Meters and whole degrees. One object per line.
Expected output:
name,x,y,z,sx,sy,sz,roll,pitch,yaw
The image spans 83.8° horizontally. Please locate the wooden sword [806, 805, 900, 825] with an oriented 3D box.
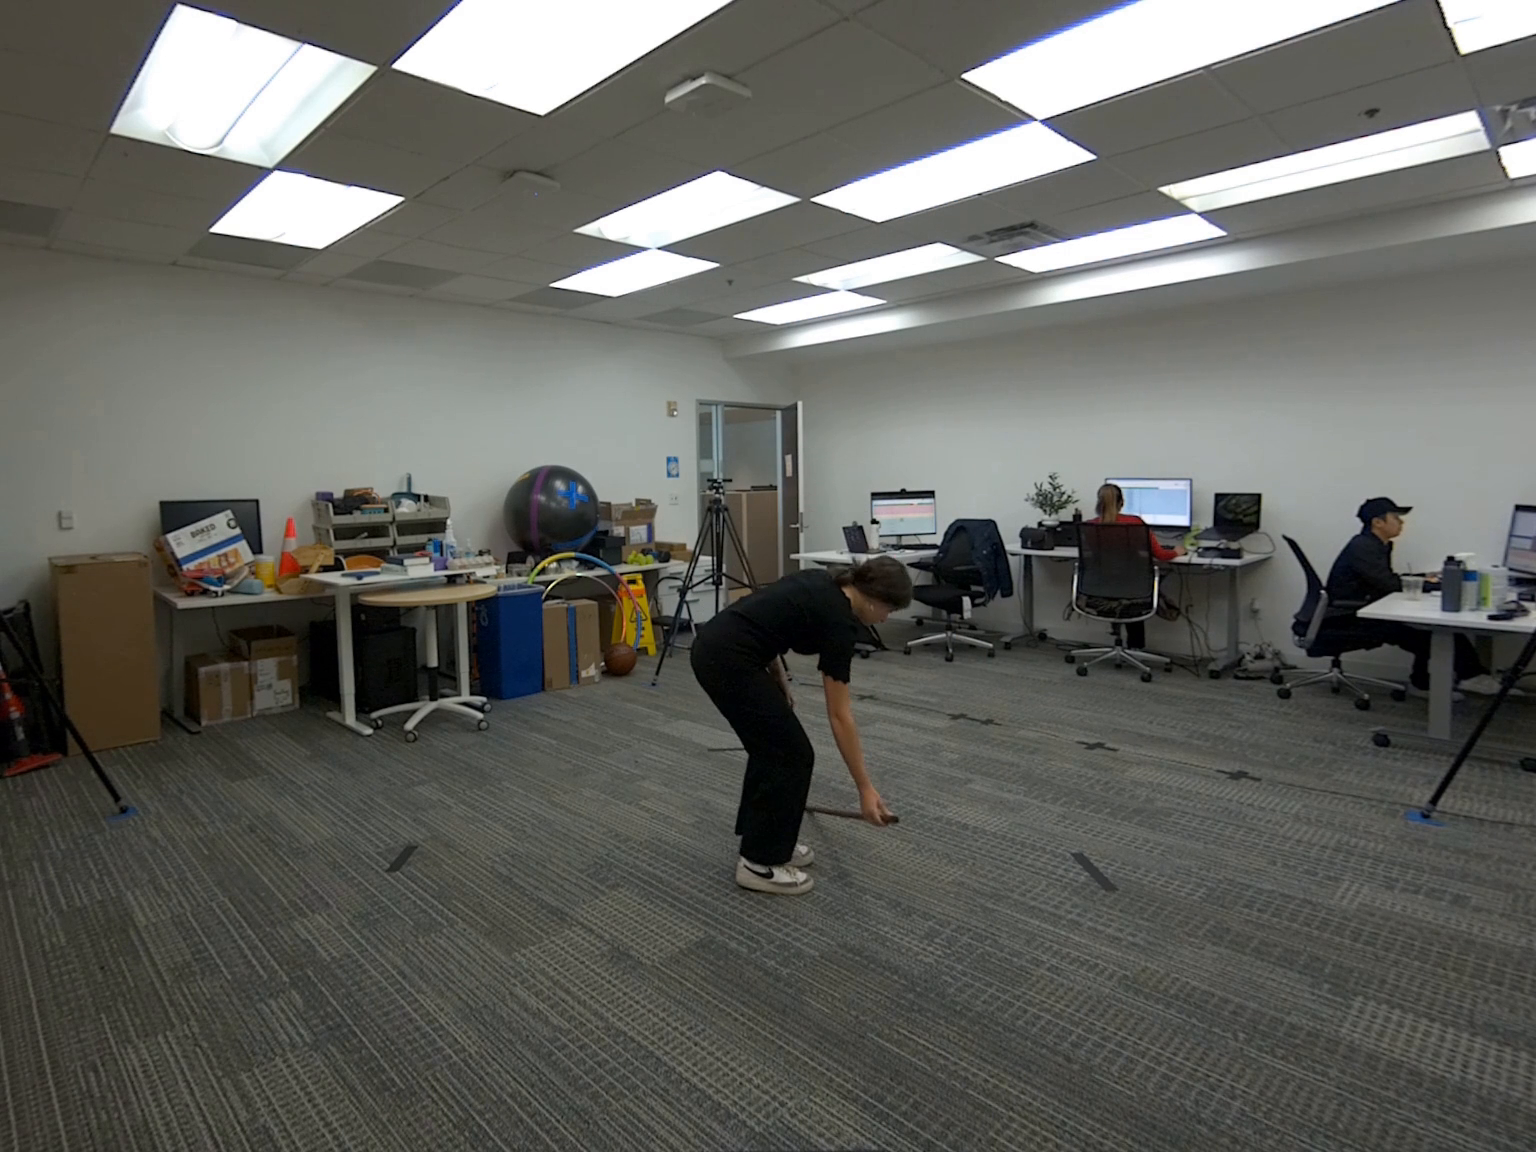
wooden sword,0.280,0.873,3.133,0.051,0.024,1.023,34,-18,-4
